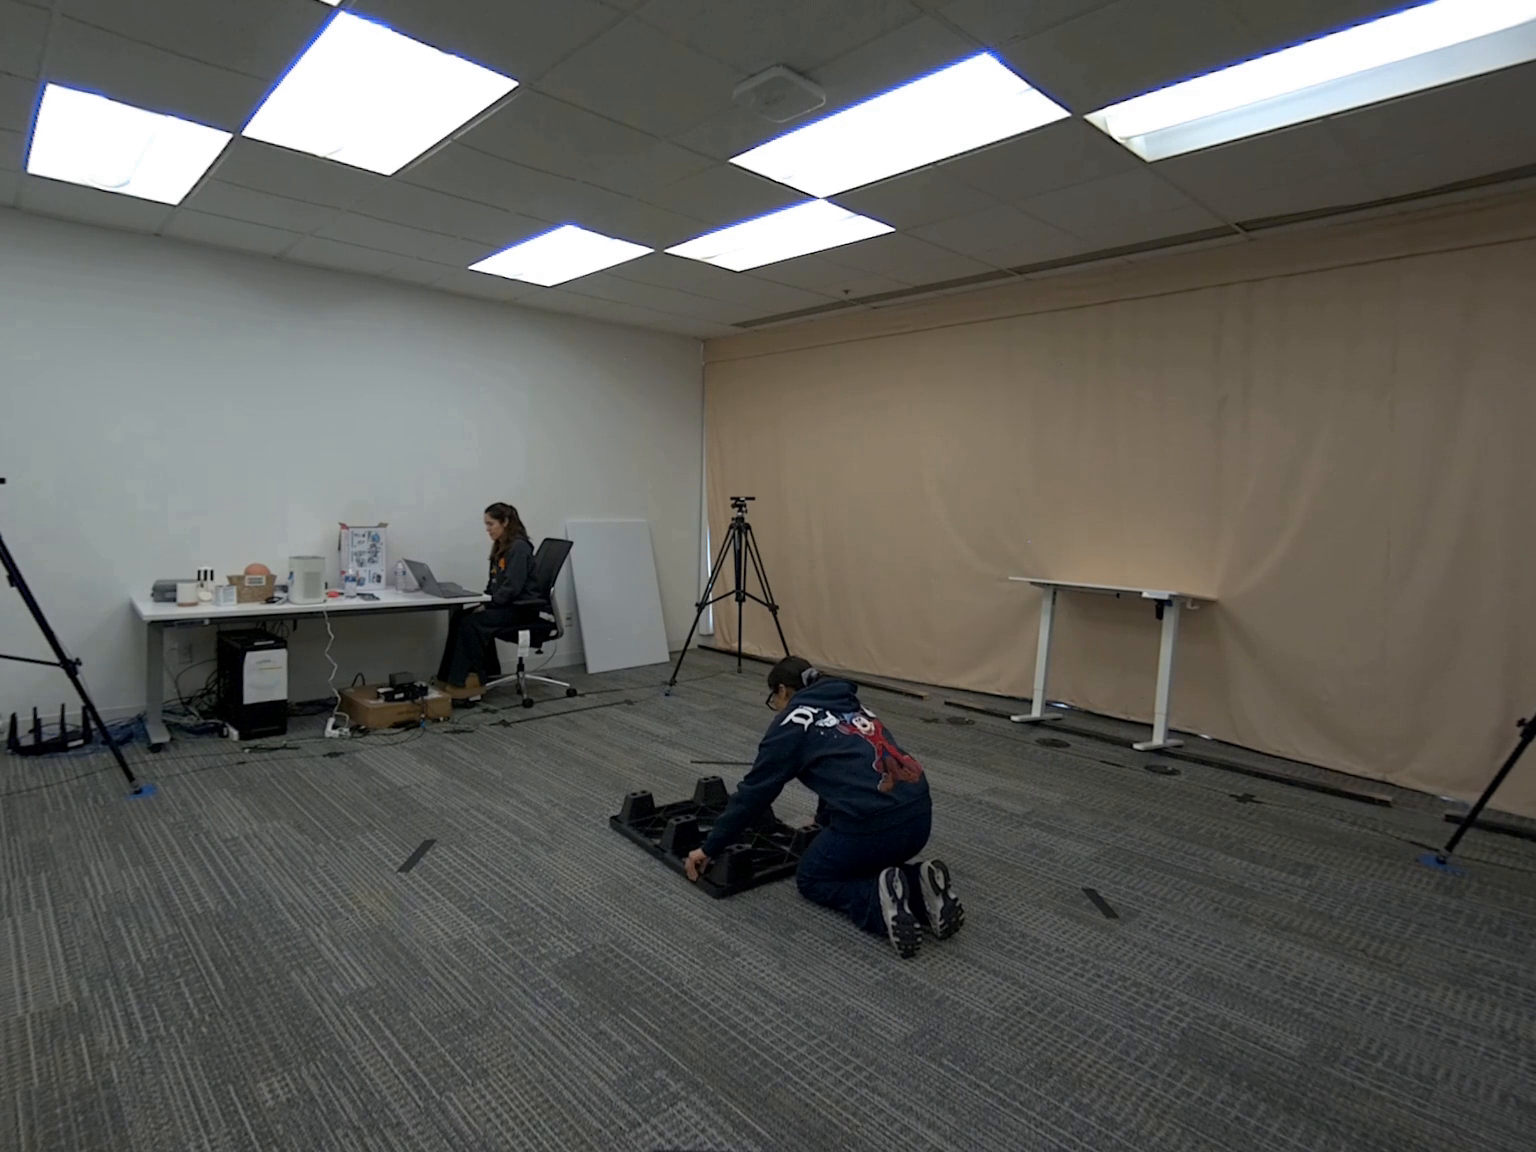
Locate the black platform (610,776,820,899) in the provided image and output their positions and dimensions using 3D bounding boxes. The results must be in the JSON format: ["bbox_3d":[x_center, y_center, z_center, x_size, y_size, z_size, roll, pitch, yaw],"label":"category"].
[{"bbox_3d":[-0.193,1.013,3.404,0.592,0.143,0.826,-3,7,-38],"label":"black platform"}]
